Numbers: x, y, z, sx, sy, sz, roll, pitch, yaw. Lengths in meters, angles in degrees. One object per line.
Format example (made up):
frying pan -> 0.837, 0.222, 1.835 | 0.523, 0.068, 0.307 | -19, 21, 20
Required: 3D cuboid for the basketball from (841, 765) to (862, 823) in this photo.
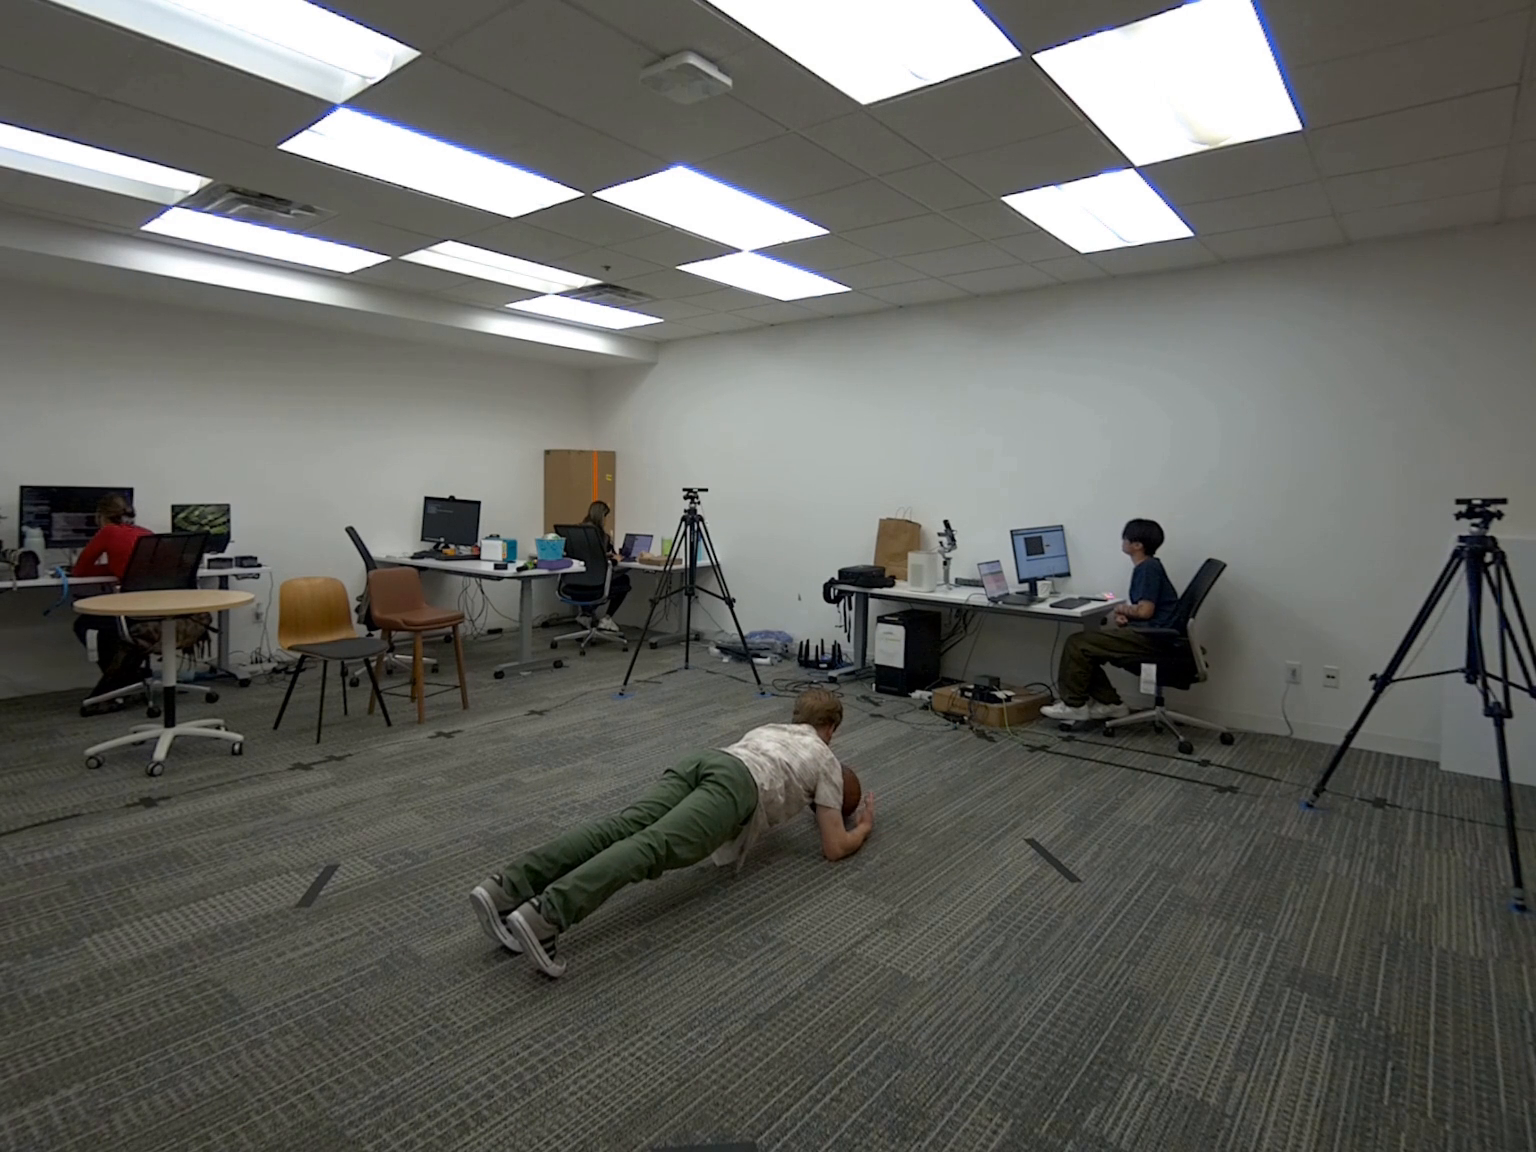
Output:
basketball -> 0.268, 0.910, 3.610 | 0.235, 0.235, 0.237 | 1, 4, -2
